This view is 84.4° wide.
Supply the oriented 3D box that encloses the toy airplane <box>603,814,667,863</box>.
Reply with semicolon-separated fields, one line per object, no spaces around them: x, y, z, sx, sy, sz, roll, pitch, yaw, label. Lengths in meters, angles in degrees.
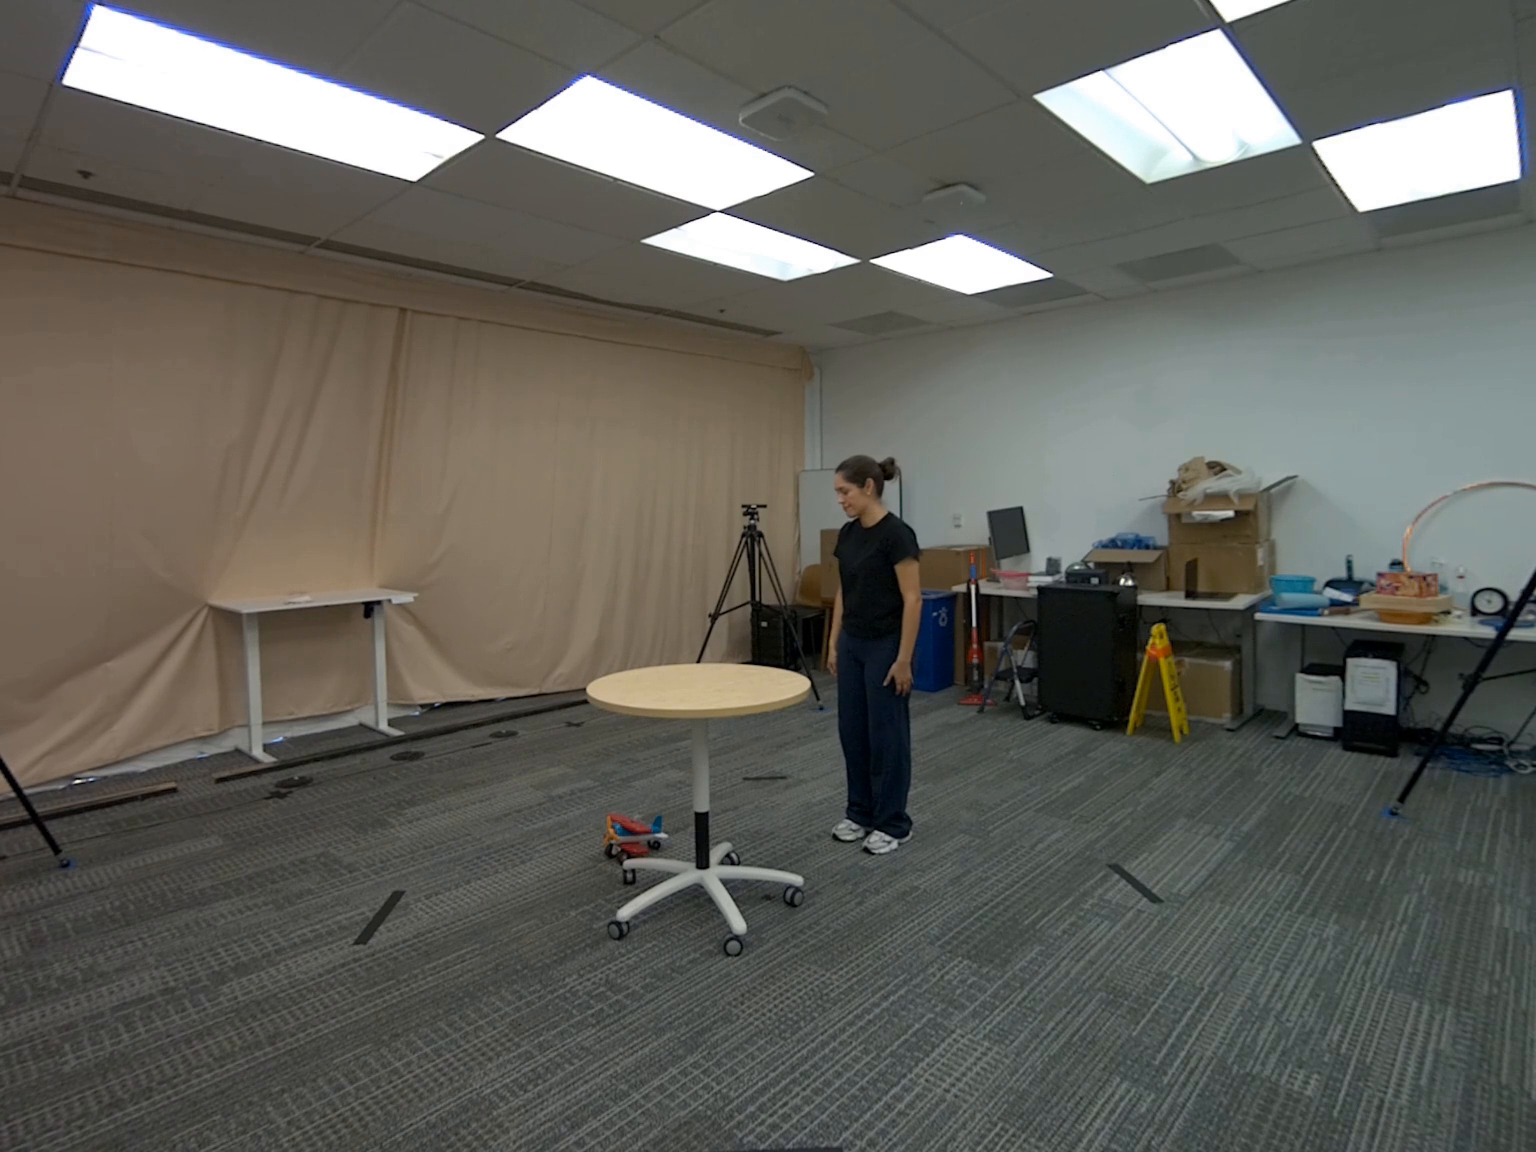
-0.535;1.042;3.389;0.256;0.156;0.255;0;7;20;toy airplane
